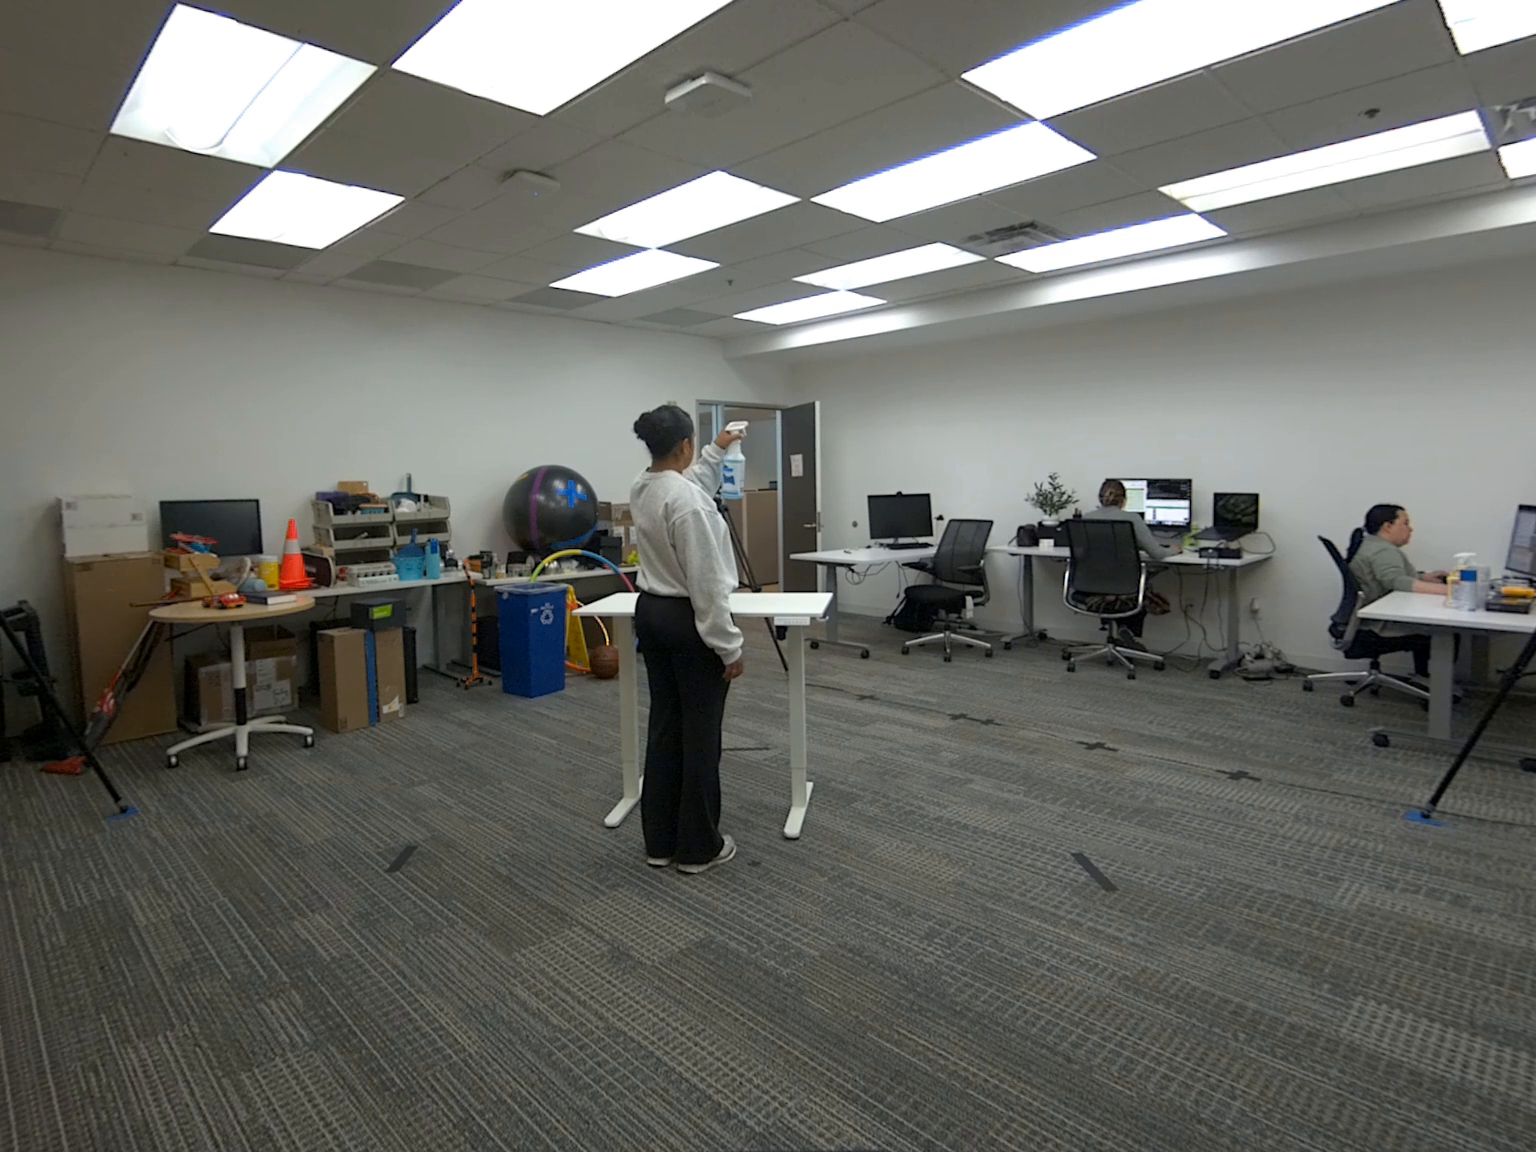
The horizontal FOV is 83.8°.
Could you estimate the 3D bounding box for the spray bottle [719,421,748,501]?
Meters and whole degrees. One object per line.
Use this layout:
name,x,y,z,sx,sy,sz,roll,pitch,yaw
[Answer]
spray bottle,-0.132,-0.444,3.332,0.090,0.294,0.088,5,15,2
